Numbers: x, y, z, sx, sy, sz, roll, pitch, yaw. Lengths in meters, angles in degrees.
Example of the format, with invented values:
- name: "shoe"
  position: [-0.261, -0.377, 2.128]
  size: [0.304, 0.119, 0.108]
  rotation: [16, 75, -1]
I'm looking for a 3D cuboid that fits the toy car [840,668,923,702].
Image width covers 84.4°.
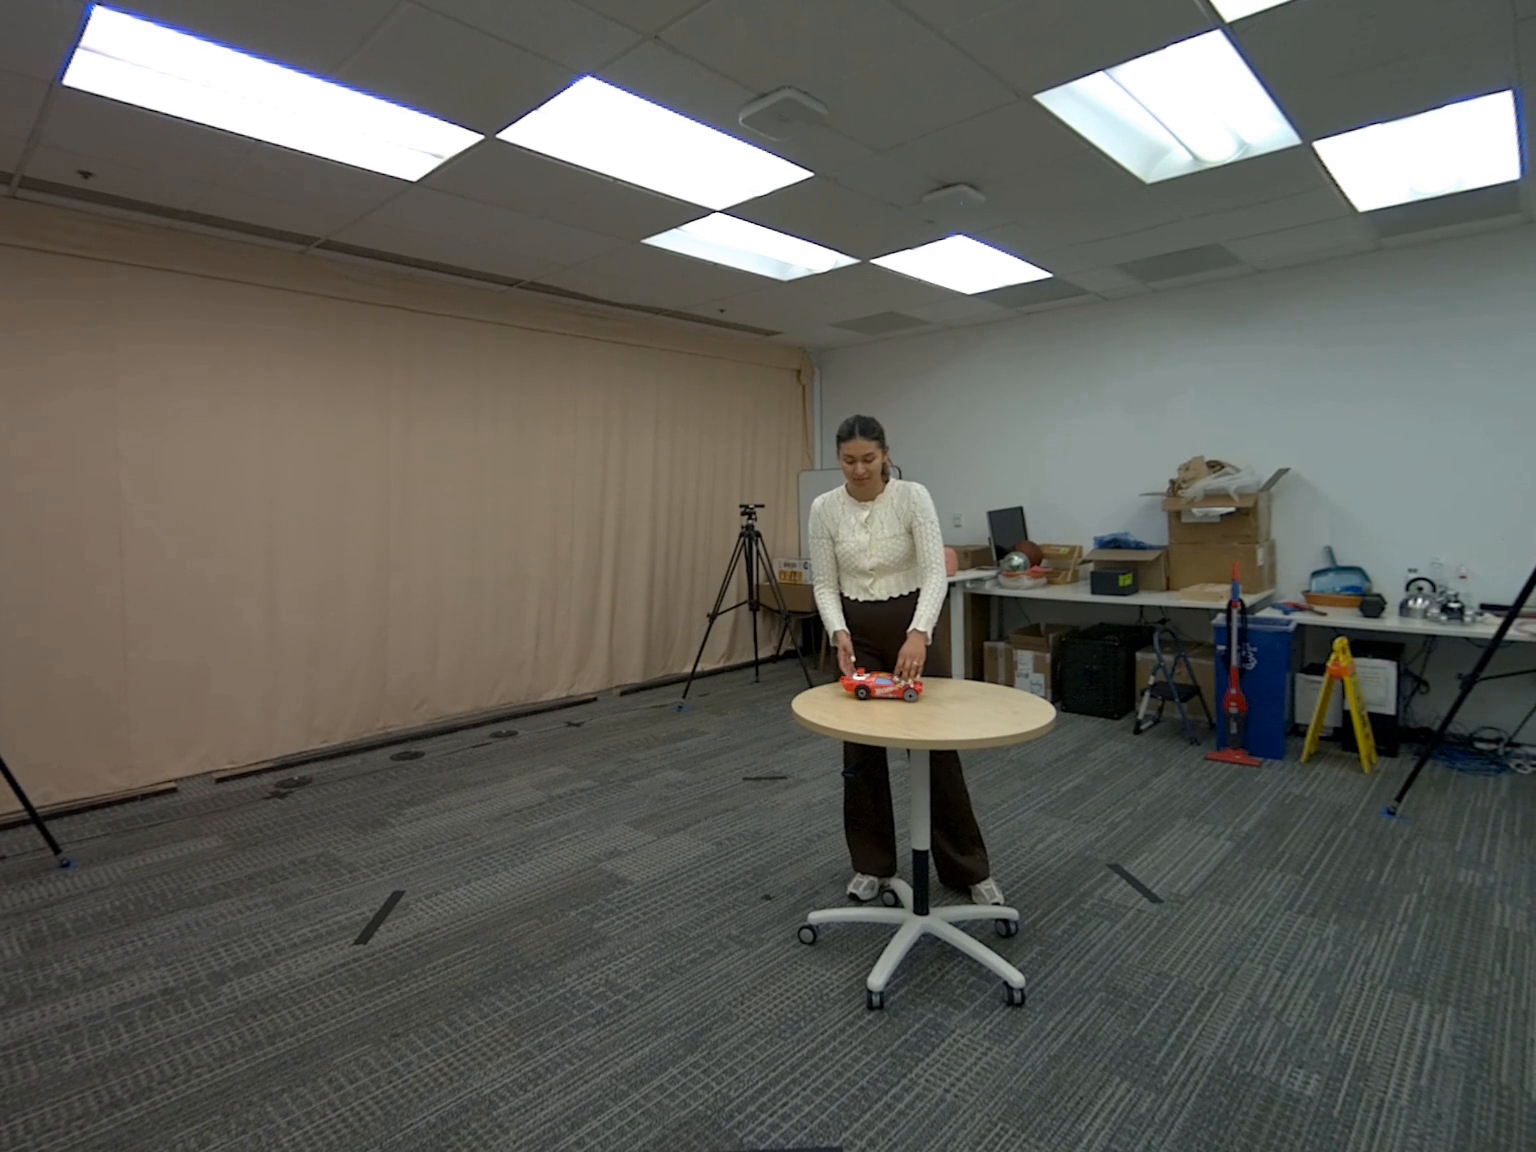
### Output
- name: "toy car"
  position: [0.348, 0.346, 2.630]
  size: [0.259, 0.083, 0.128]
  rotation: [10, 7, 13]
